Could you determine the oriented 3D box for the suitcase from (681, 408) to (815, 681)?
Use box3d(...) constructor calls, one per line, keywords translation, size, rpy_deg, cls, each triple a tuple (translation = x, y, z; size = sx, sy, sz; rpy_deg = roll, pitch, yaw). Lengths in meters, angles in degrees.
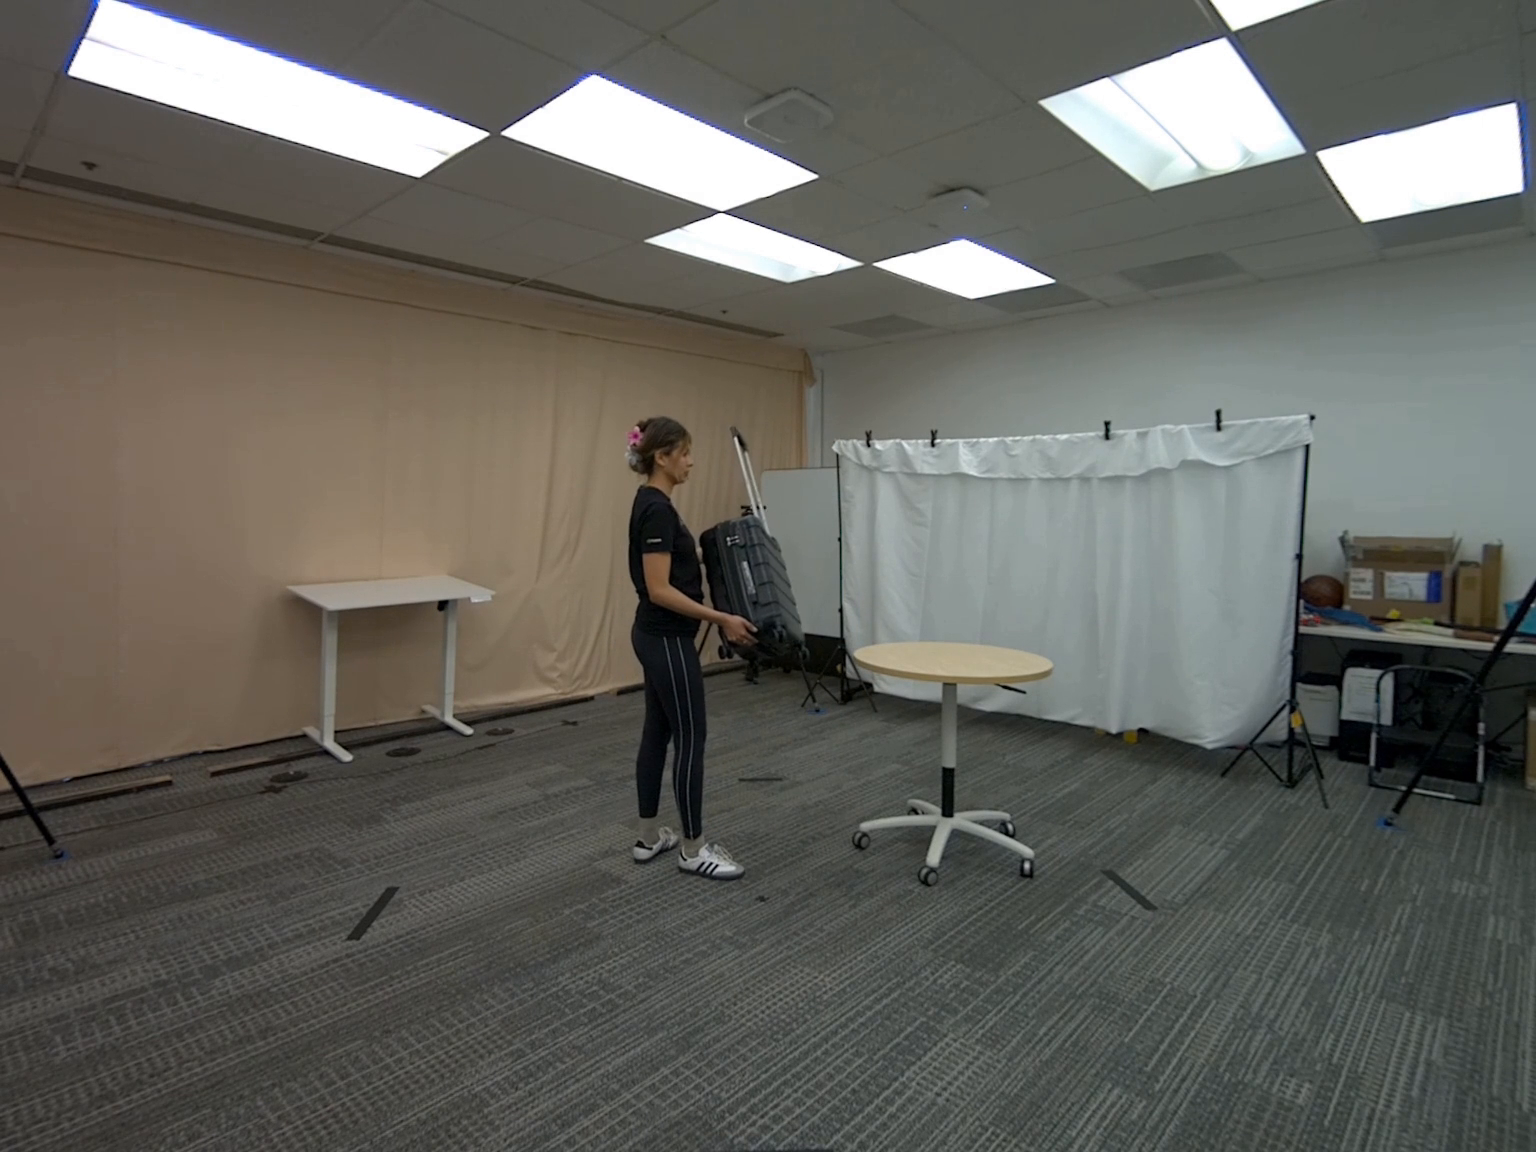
box3d(translation=(-0.113, -0.129, 3.358), size=(0.260, 0.998, 0.372), rpy_deg=(-21, -27, 14), cls="suitcase")
